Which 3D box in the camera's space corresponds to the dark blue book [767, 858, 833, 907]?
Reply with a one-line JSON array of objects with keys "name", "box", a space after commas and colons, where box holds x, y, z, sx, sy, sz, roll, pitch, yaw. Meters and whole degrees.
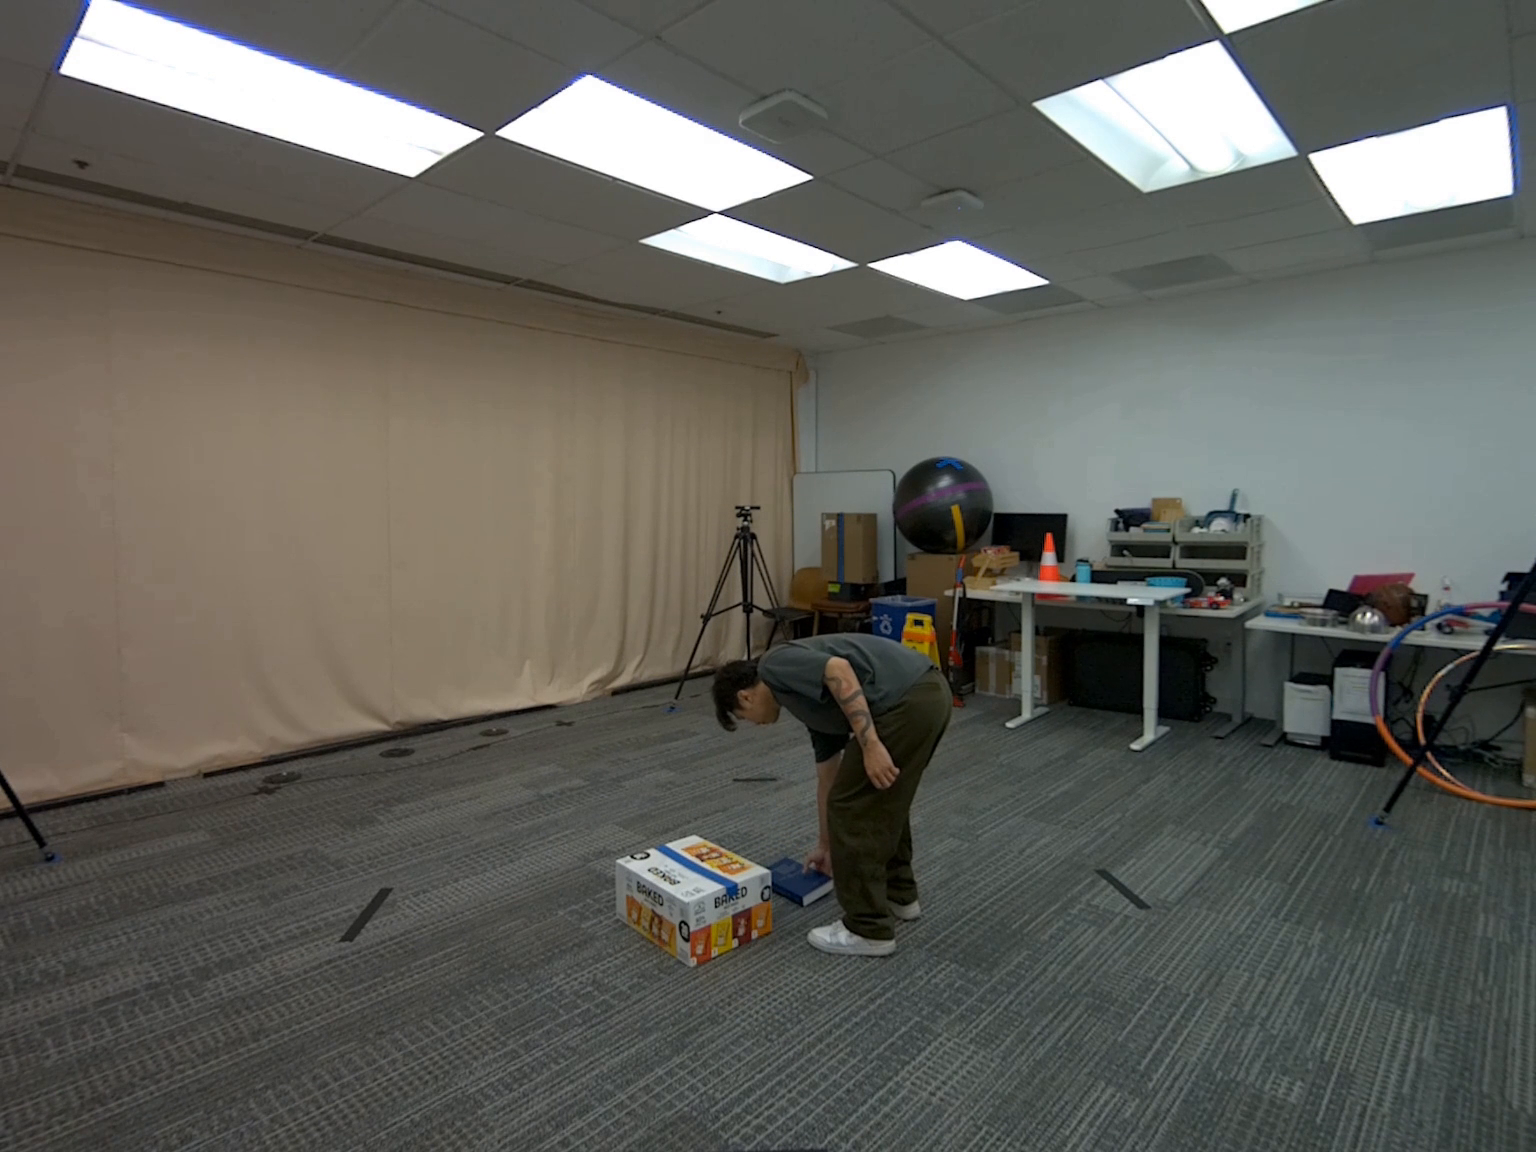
[{"name": "dark blue book", "box": [0.094, 1.113, 3.057, 0.159, 0.045, 0.253, -12, 12, -38]}]
